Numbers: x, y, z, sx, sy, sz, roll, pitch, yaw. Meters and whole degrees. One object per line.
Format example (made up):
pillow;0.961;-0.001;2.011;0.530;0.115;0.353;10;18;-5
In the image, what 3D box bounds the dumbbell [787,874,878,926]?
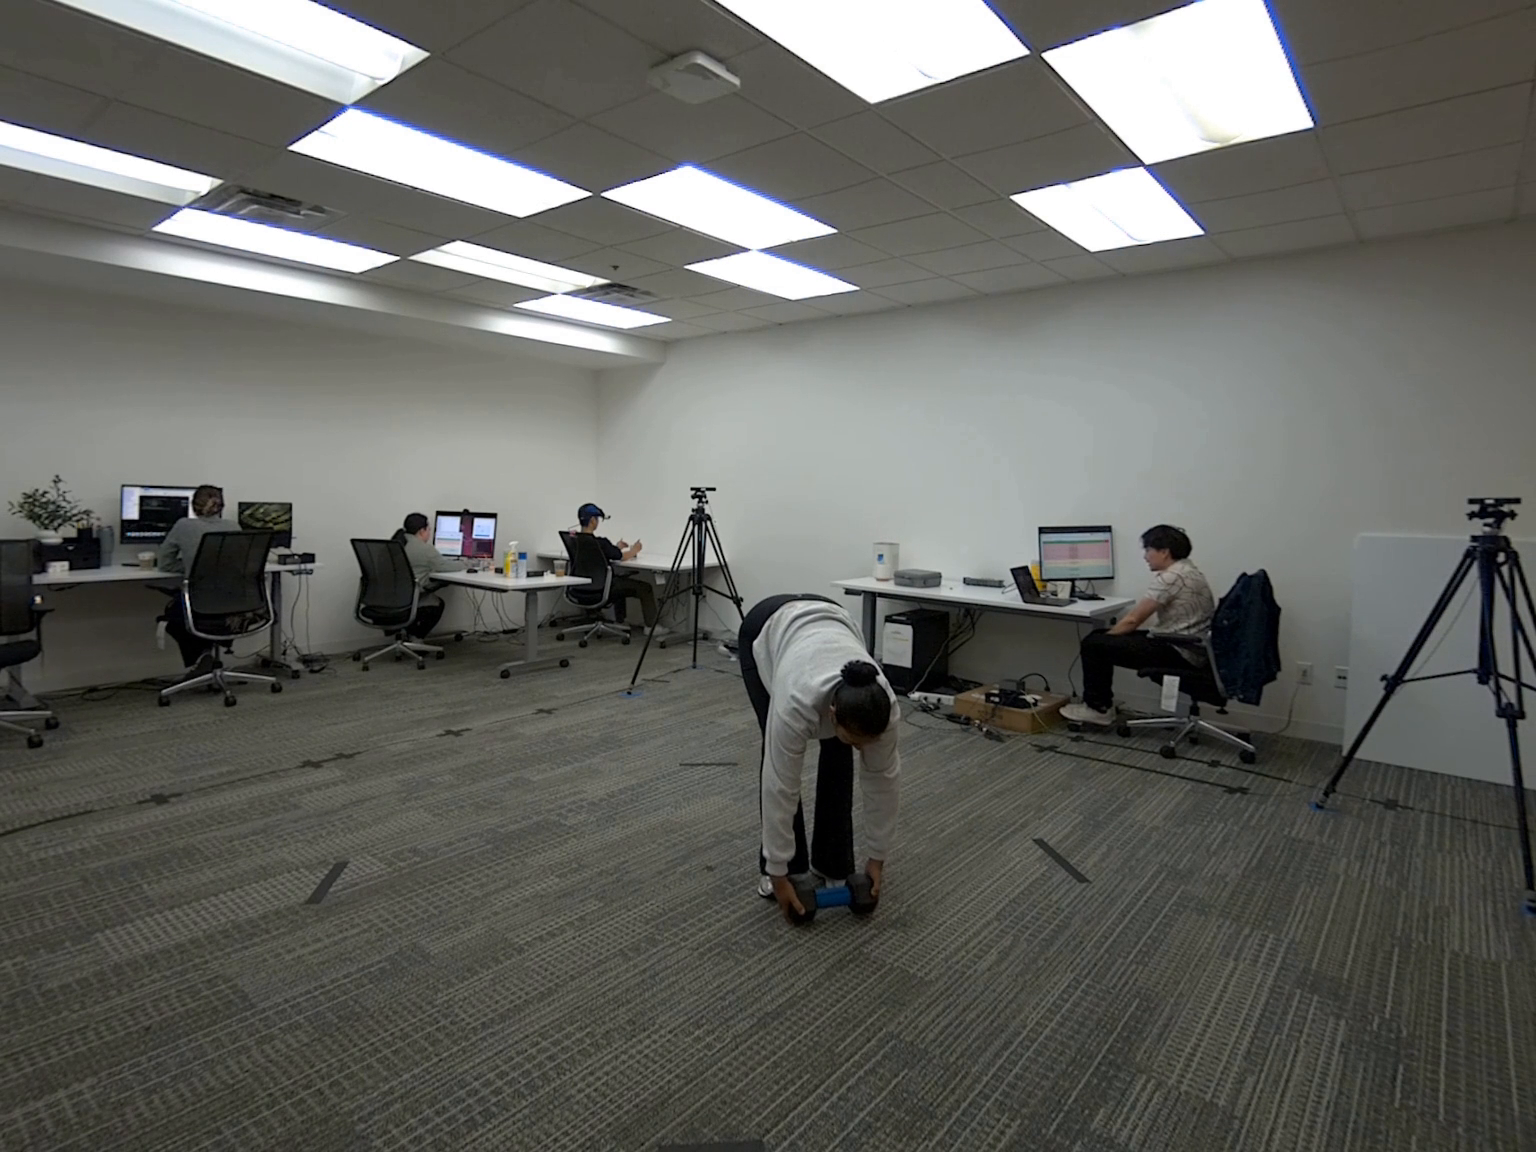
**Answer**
dumbbell;0.198;1.037;2.766;0.288;0.126;0.108;1;-25;-18
